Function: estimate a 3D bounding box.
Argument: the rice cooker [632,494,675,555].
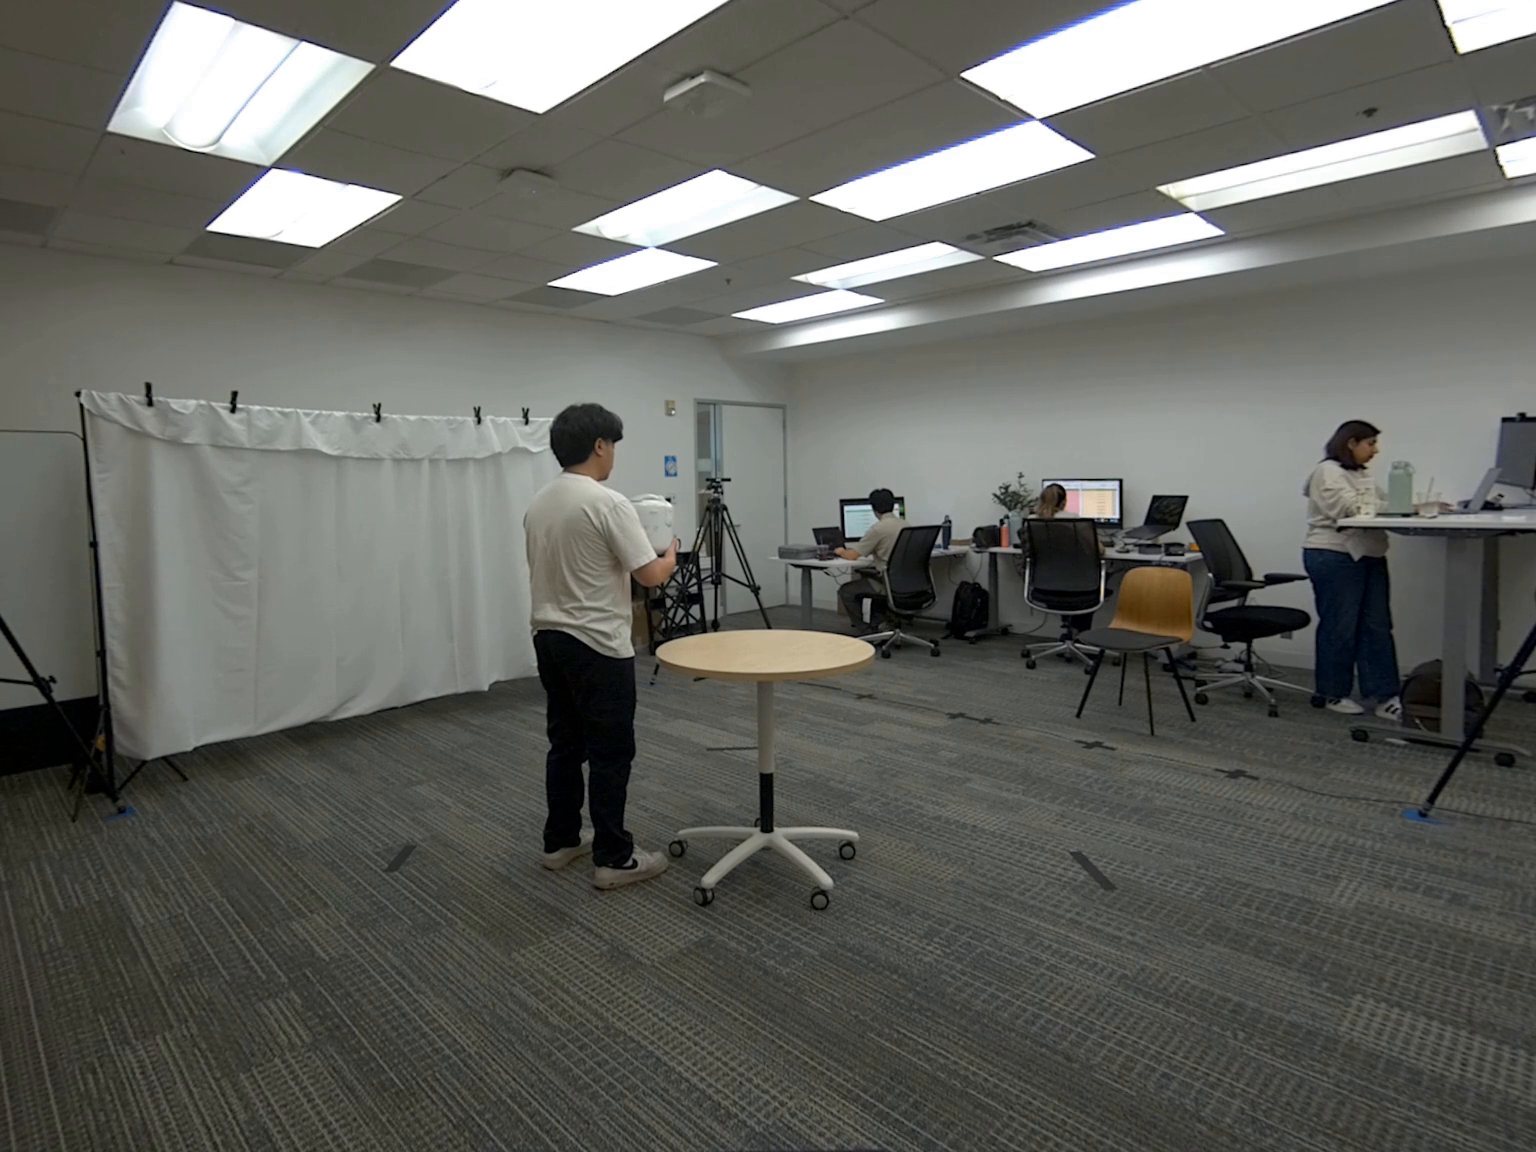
[{"bbox_3d":[-0.463,-0.198,3.270,0.226,0.233,0.212,0,1,30],"label":"rice cooker"}]
